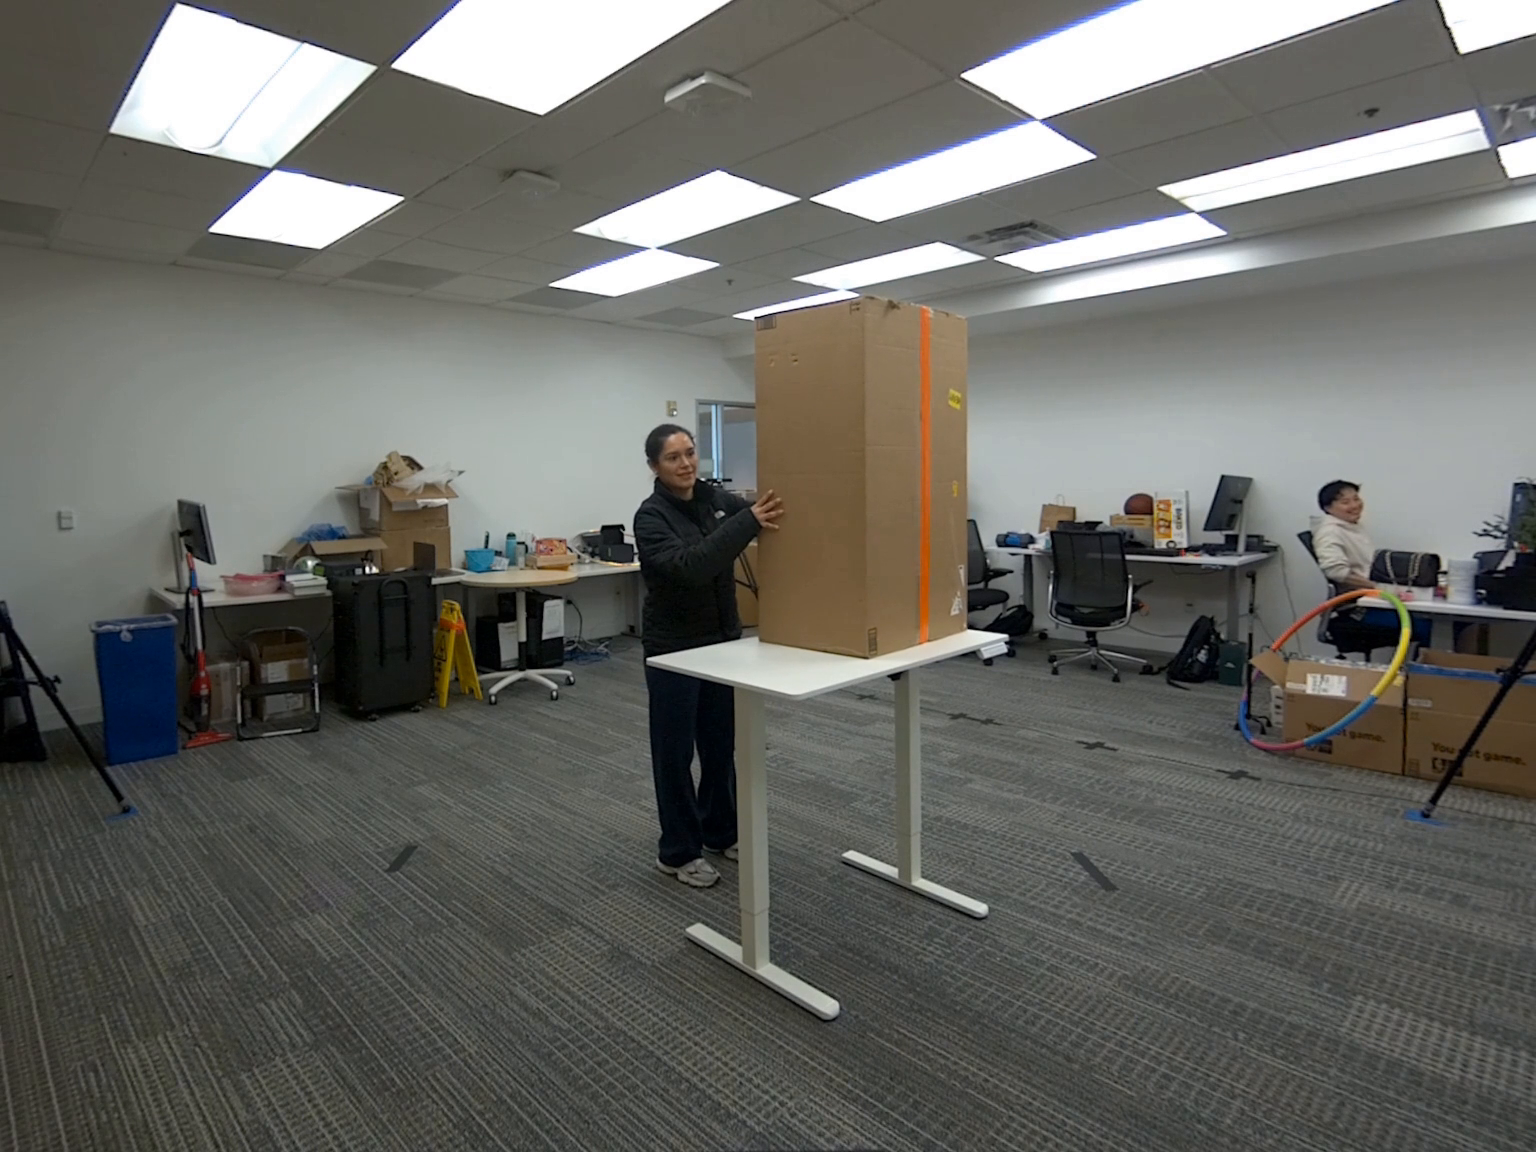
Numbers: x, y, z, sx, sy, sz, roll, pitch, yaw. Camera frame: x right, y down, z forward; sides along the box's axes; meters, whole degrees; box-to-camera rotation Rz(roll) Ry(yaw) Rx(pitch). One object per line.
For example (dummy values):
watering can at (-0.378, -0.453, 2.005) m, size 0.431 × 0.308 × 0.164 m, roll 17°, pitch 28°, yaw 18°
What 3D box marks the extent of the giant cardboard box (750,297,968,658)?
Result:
giant cardboard box at (0.308, -0.313, 2.746) m, size 0.439 × 1.022 × 0.562 m, roll 3°, pitch 6°, yaw 43°
